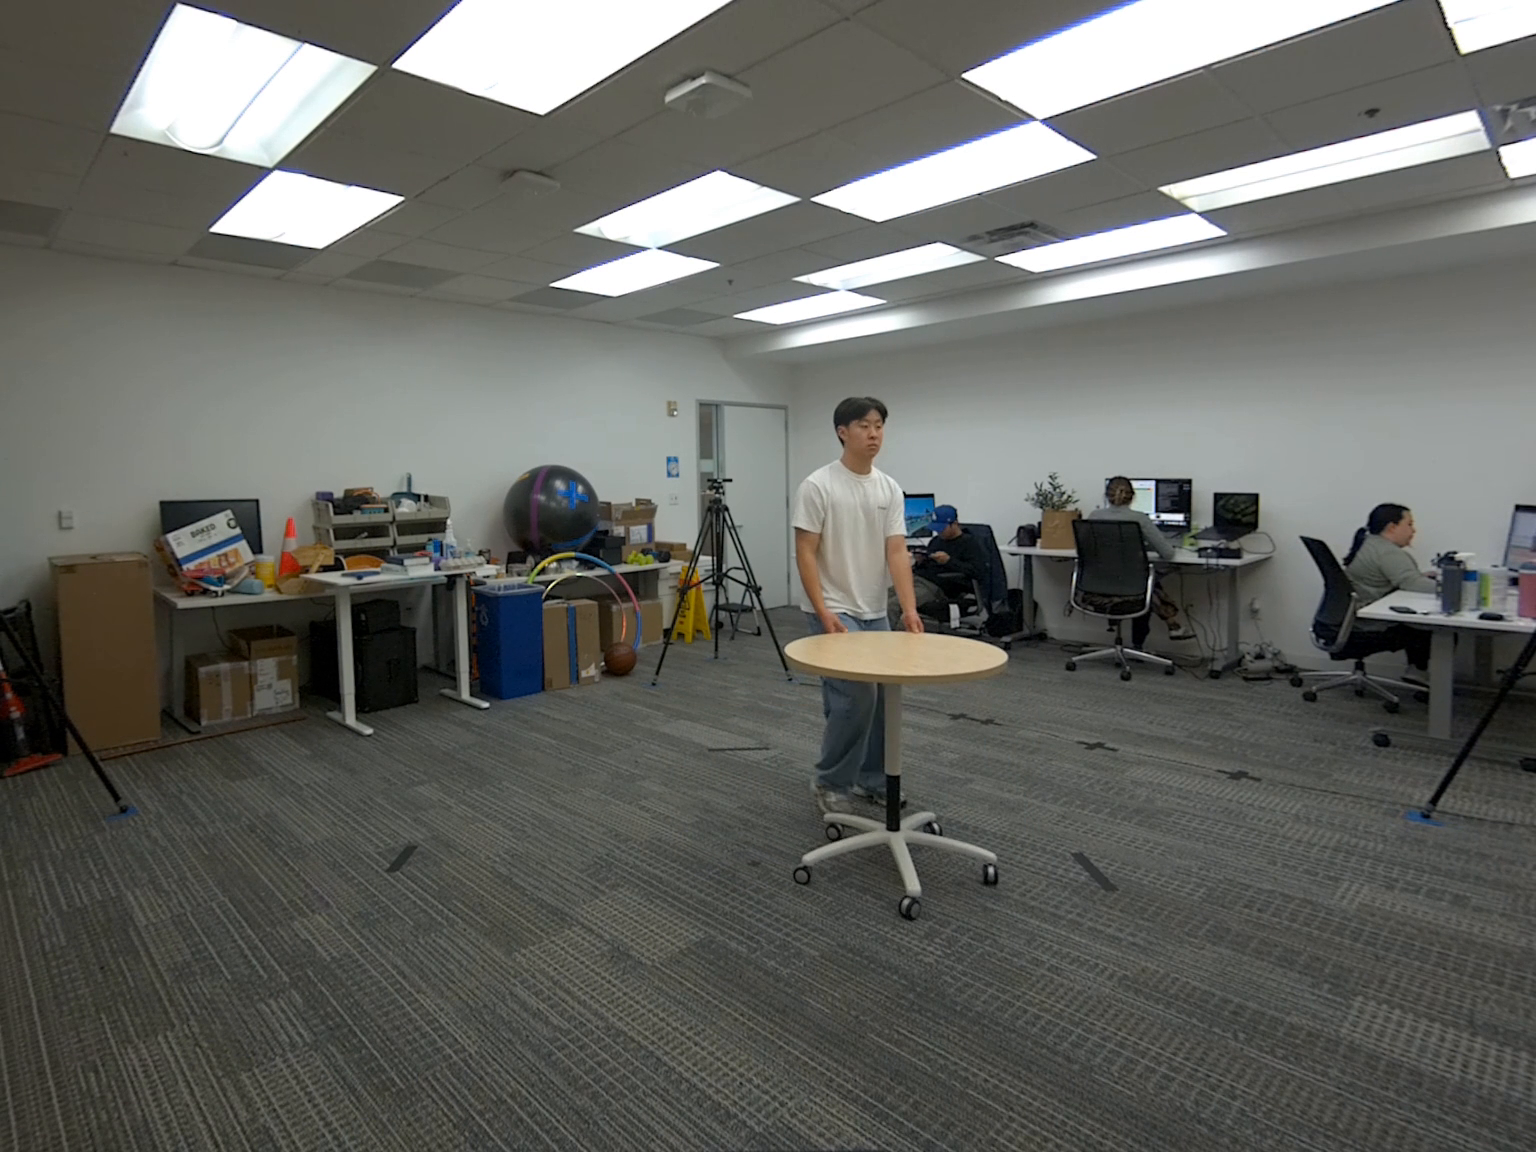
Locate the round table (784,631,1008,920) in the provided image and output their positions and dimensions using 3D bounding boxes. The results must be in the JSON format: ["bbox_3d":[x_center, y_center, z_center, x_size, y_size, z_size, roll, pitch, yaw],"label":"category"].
[{"bbox_3d":[0.444,0.660,3.022,0.763,0.791,0.767,-1,4,-2],"label":"round table"}]
